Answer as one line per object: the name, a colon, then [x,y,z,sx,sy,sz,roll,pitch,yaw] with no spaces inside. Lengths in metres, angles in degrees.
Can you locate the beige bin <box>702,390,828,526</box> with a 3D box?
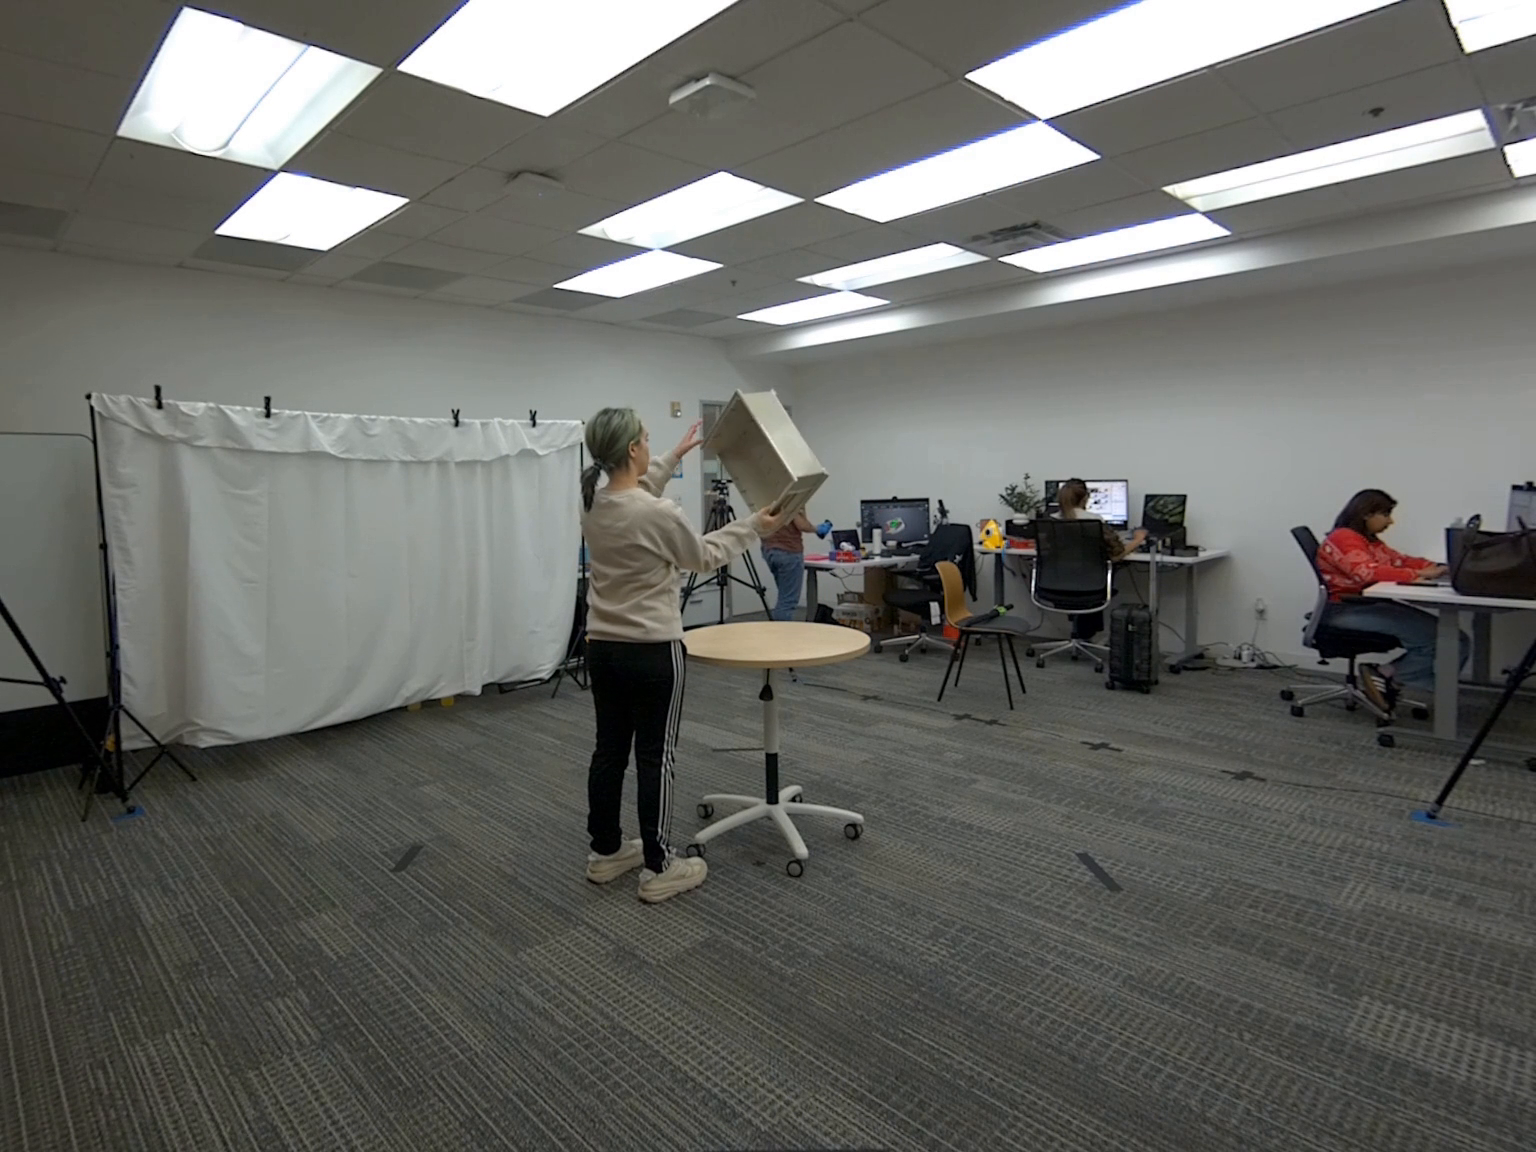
beige bin: [-0.029,-0.414,3.176,0.185,0.433,0.376,-12,-27,-39]
